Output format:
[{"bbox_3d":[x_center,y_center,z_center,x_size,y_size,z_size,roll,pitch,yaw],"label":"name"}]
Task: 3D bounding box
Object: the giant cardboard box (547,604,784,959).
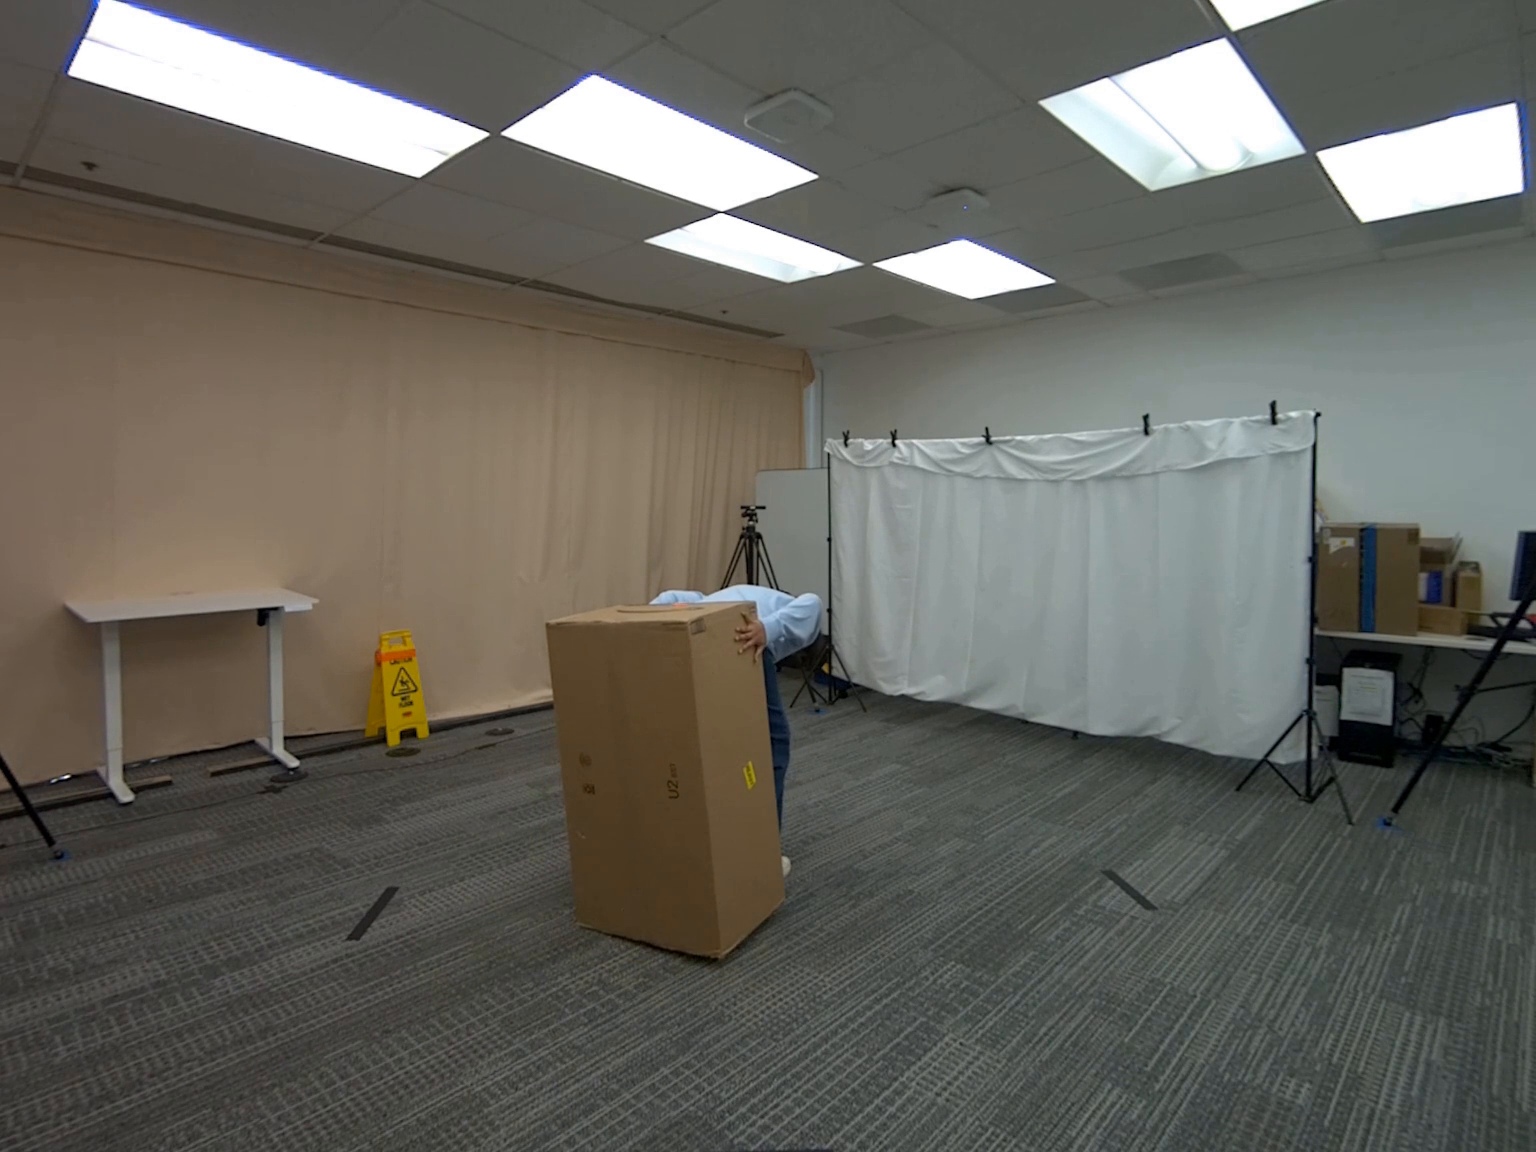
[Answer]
[{"bbox_3d":[-0.345,0.631,2.812,0.593,1.024,0.415,-4,3,31],"label":"giant cardboard box"}]
